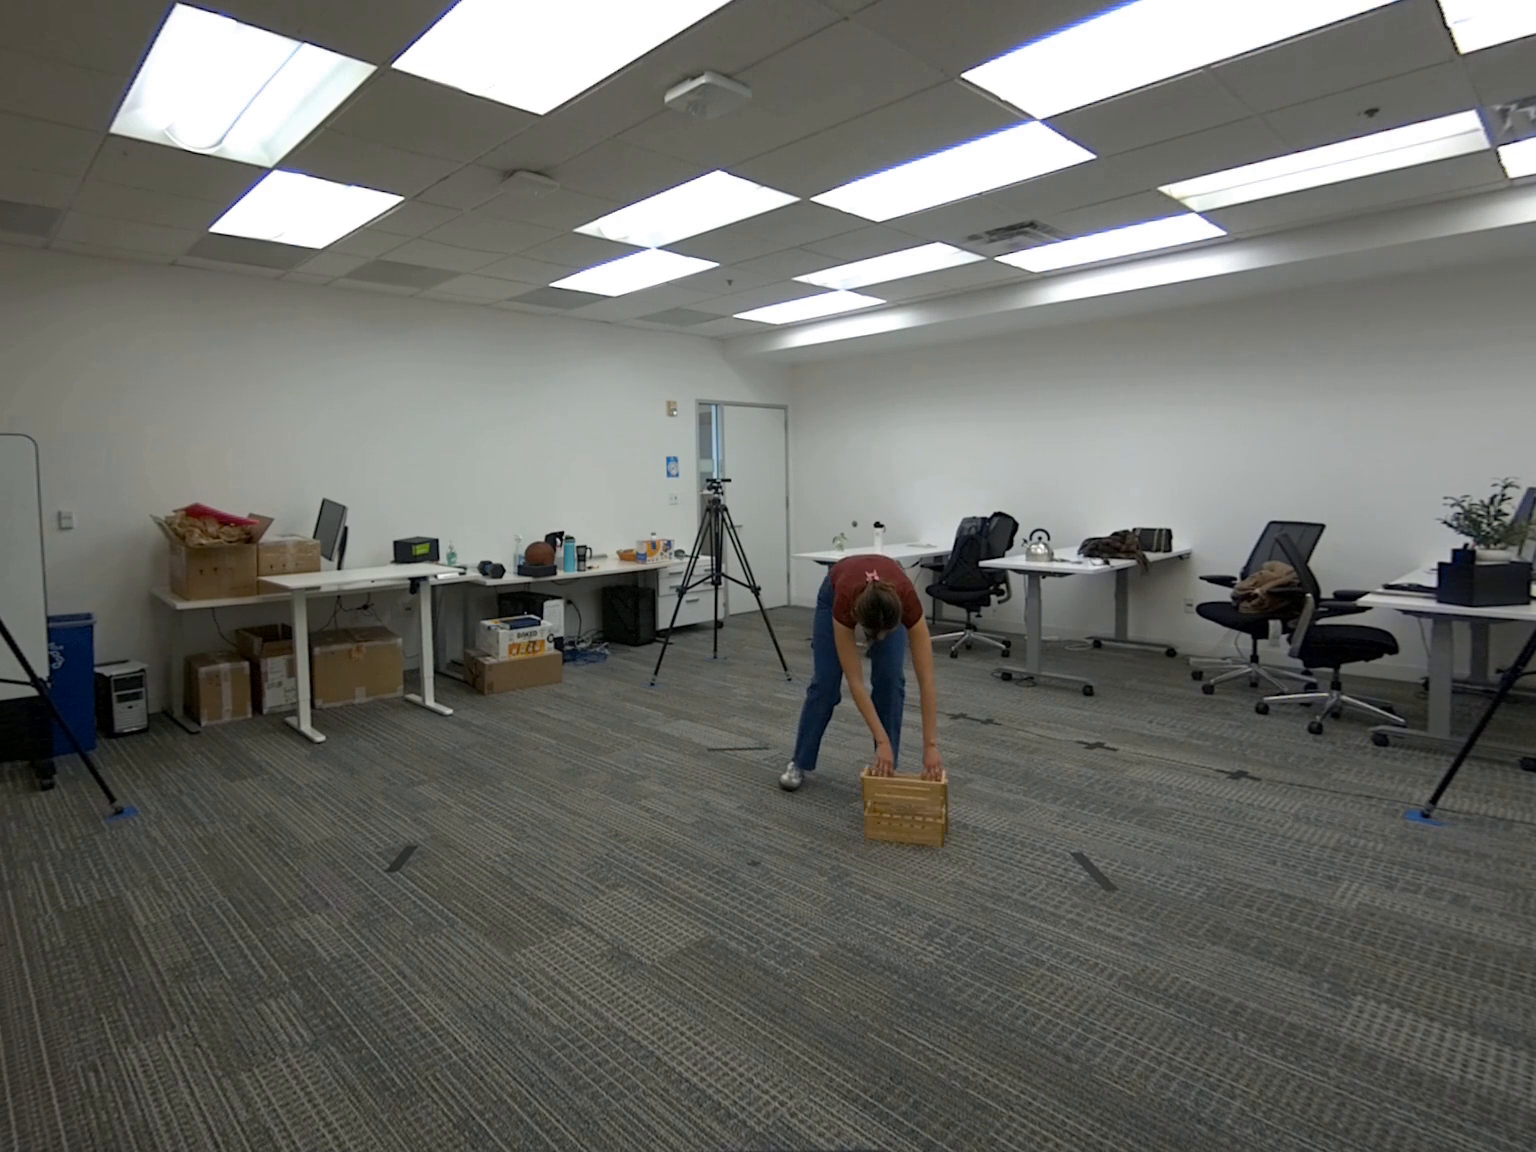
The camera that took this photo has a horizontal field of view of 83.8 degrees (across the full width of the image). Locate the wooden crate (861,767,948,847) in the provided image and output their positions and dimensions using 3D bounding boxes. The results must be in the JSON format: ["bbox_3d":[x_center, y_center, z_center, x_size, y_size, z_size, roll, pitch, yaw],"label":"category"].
[{"bbox_3d":[0.535,0.878,3.355,0.329,0.272,0.299,0,5,14],"label":"wooden crate"}]
